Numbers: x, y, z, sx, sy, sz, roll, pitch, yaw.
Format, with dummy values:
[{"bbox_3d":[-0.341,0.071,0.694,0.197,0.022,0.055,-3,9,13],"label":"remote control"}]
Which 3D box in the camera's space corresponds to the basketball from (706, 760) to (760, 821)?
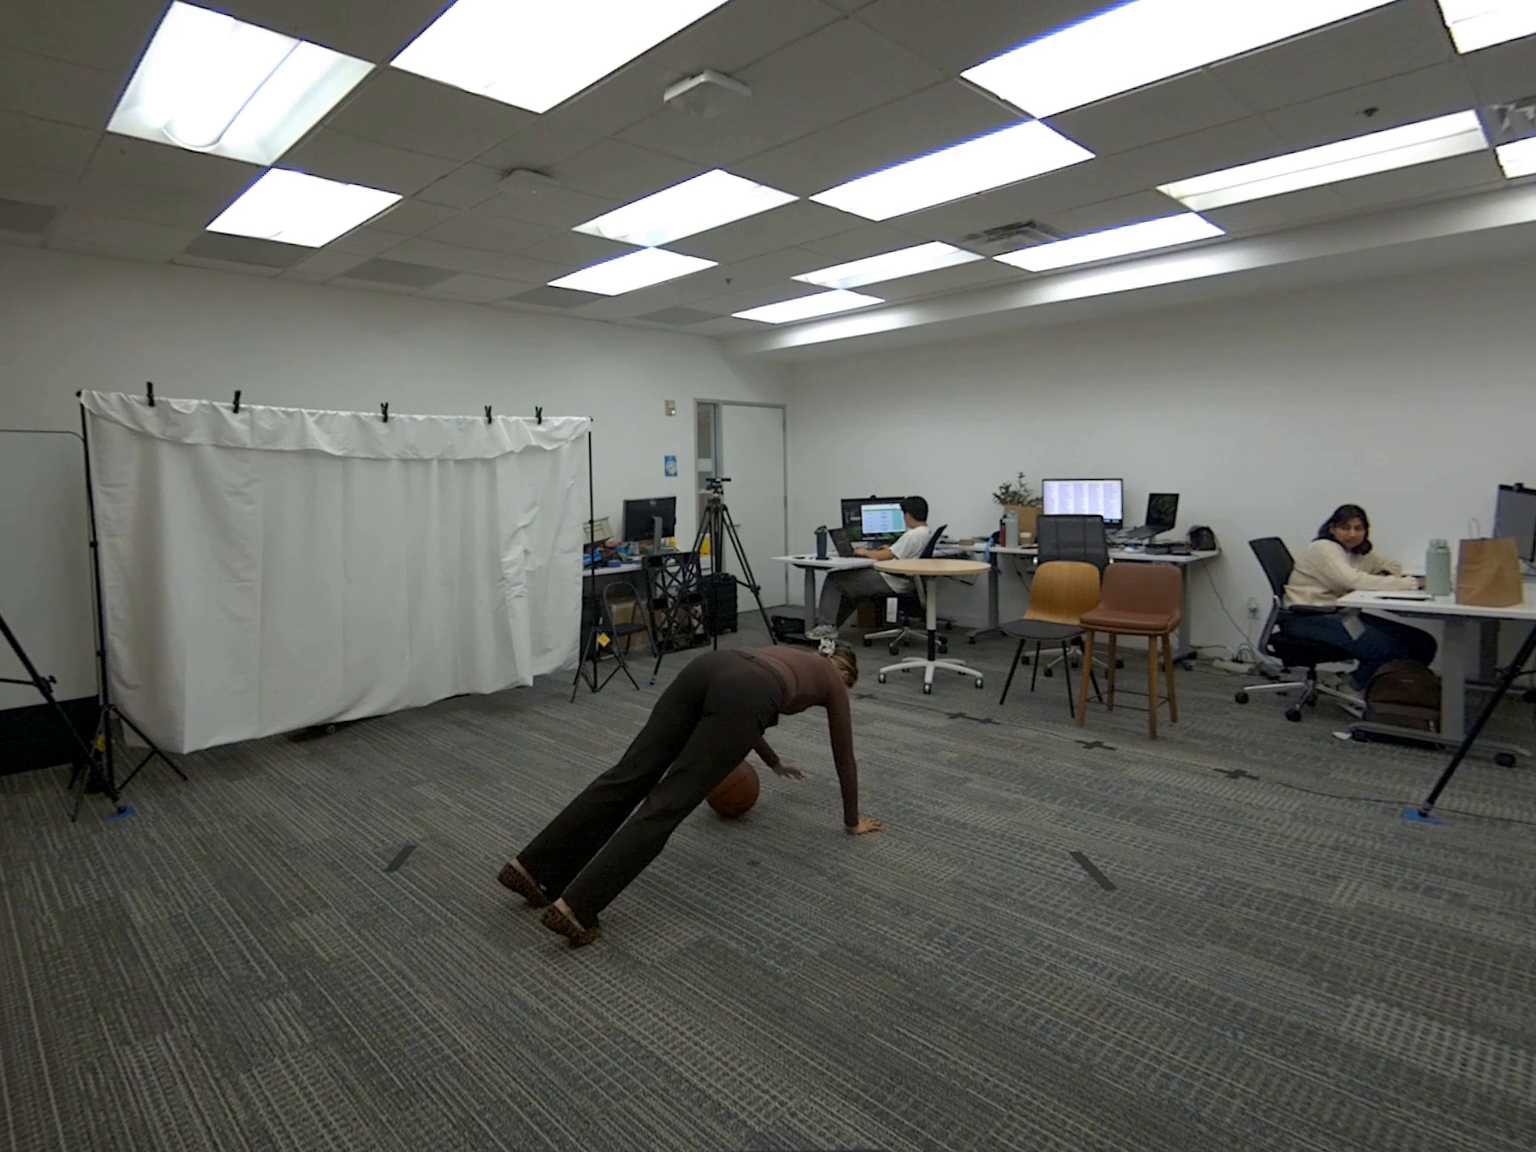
[{"bbox_3d":[-0.151,0.874,3.553,0.236,0.235,0.237,-1,5,-2],"label":"basketball"}]
